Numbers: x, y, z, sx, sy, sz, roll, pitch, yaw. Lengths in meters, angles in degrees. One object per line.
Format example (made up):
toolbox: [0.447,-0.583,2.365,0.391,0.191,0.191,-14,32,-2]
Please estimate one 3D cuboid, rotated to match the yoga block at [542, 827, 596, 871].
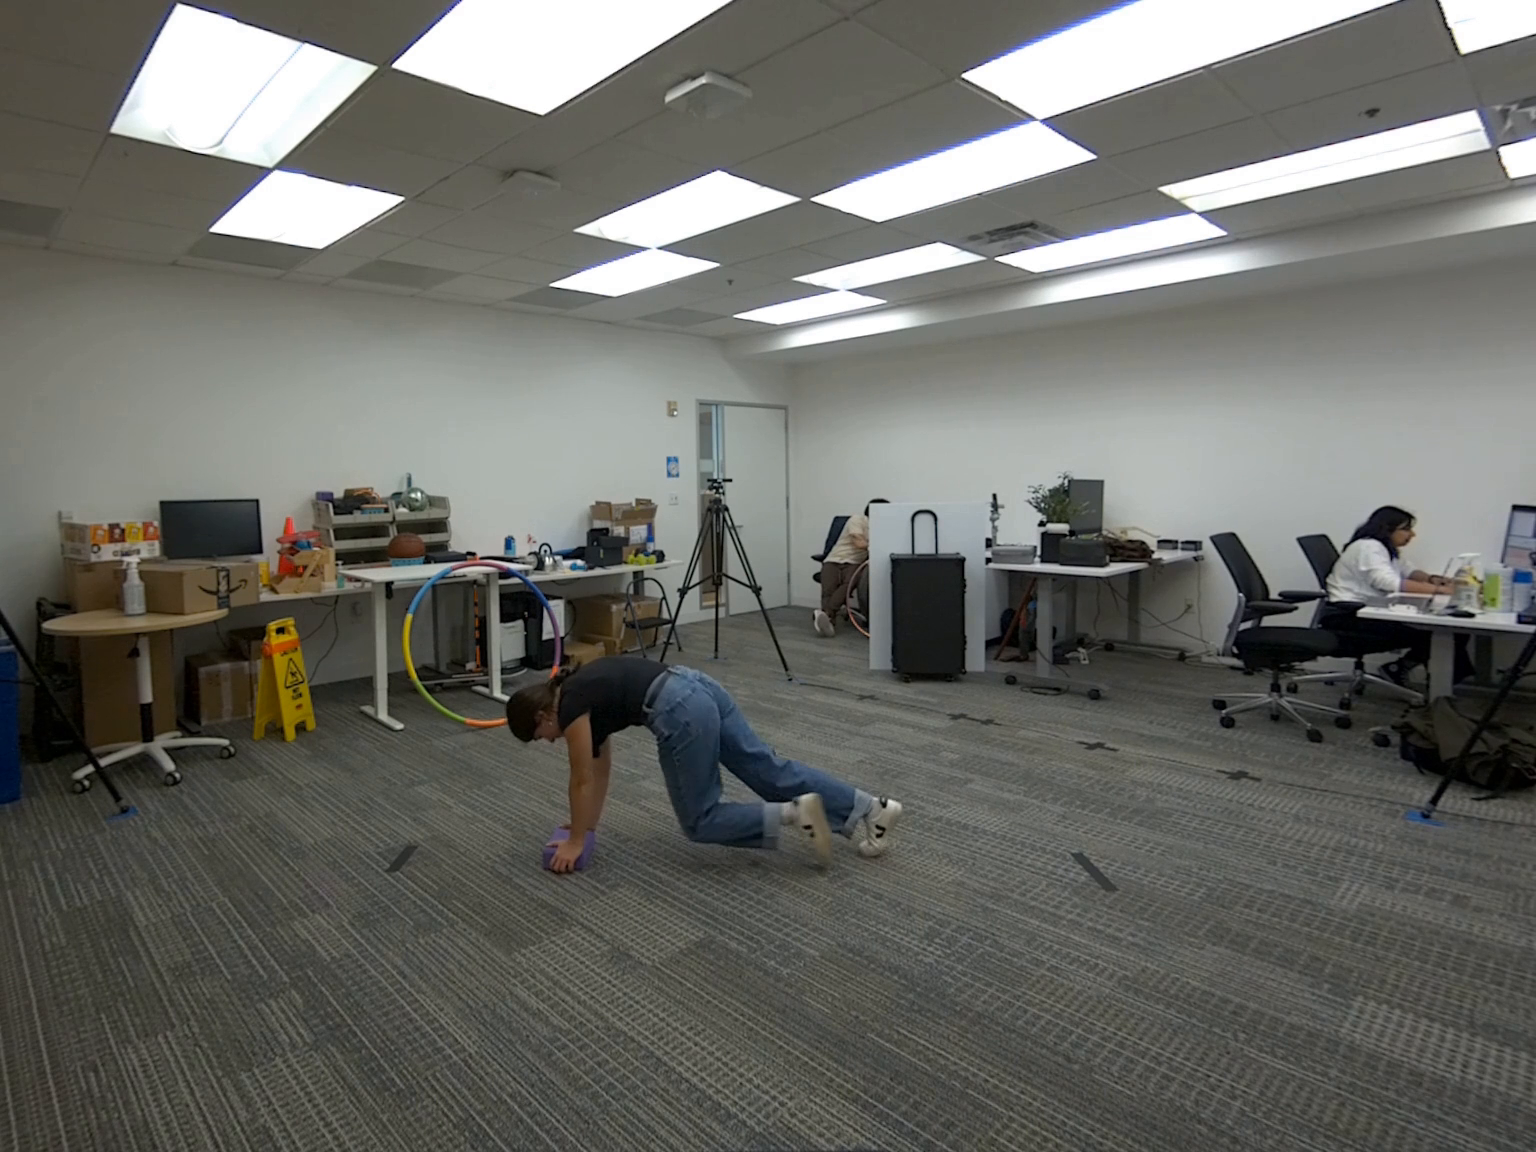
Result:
yoga block: [-0.743,1.012,3.200,0.149,0.076,0.230,0,8,0]
